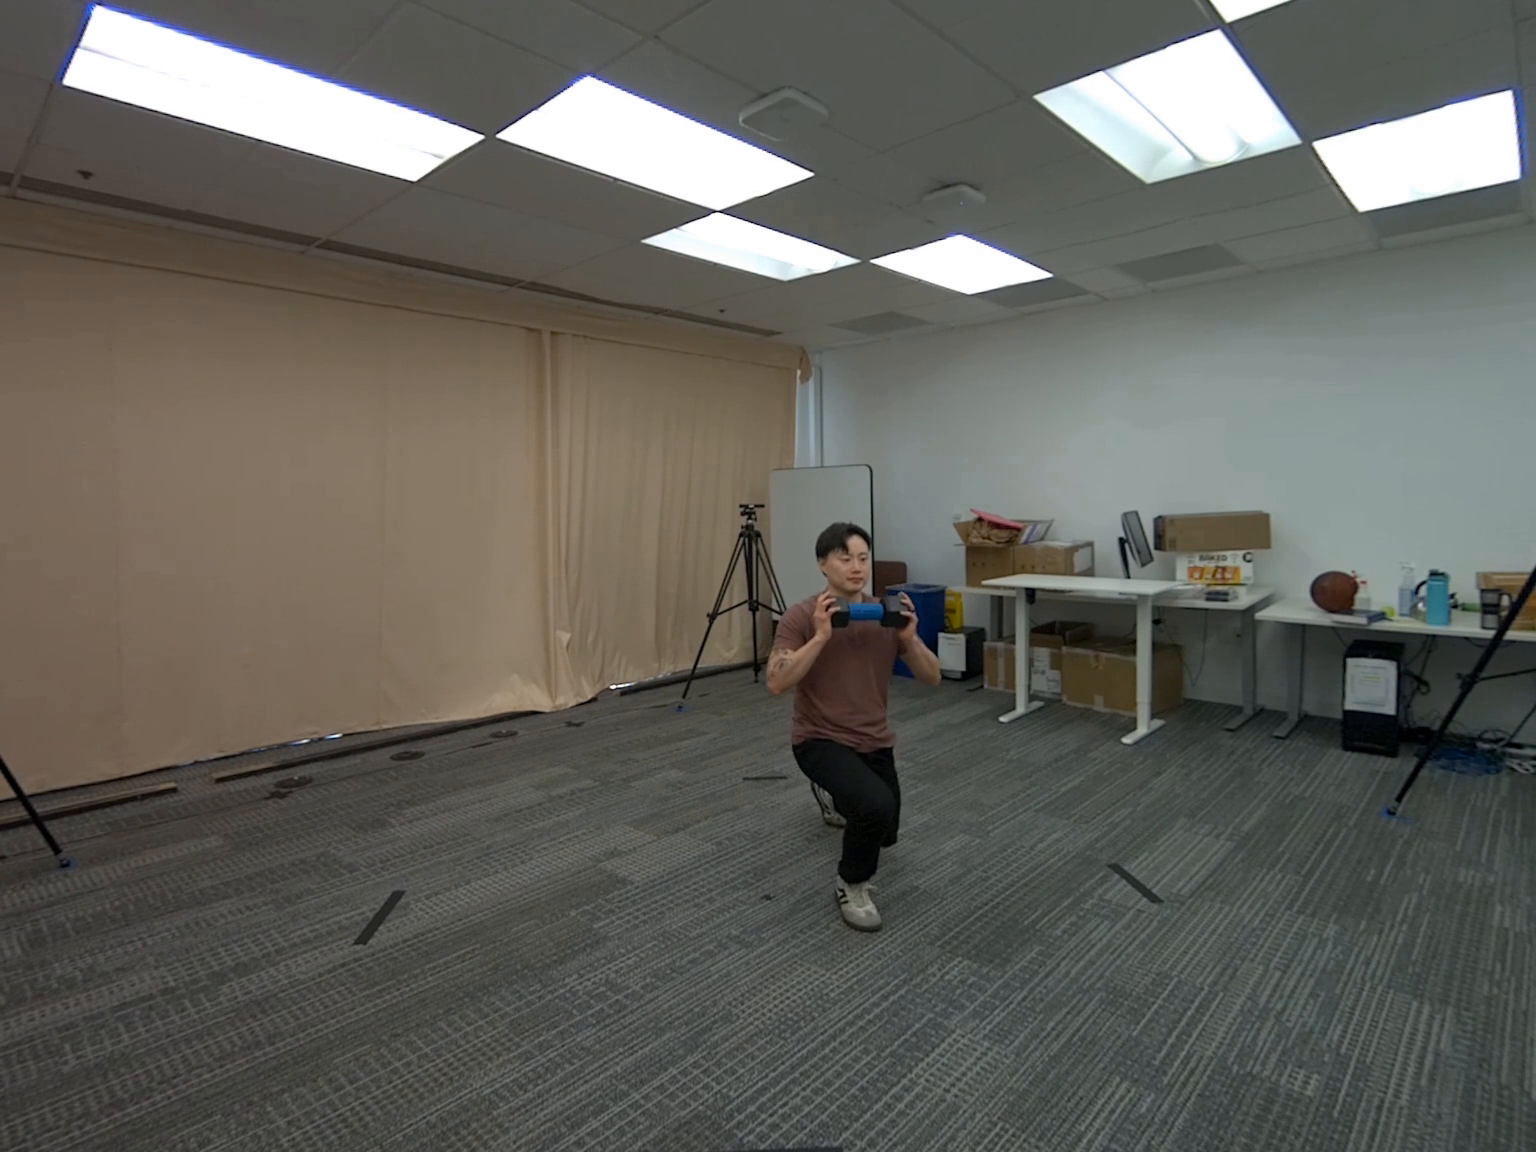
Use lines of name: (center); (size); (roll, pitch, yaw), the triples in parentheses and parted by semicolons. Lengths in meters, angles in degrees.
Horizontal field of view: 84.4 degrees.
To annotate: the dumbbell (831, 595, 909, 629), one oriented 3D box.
dumbbell: (0.332, 0.129, 2.945); (0.290, 0.109, 0.123); (-5, -10, -10)
